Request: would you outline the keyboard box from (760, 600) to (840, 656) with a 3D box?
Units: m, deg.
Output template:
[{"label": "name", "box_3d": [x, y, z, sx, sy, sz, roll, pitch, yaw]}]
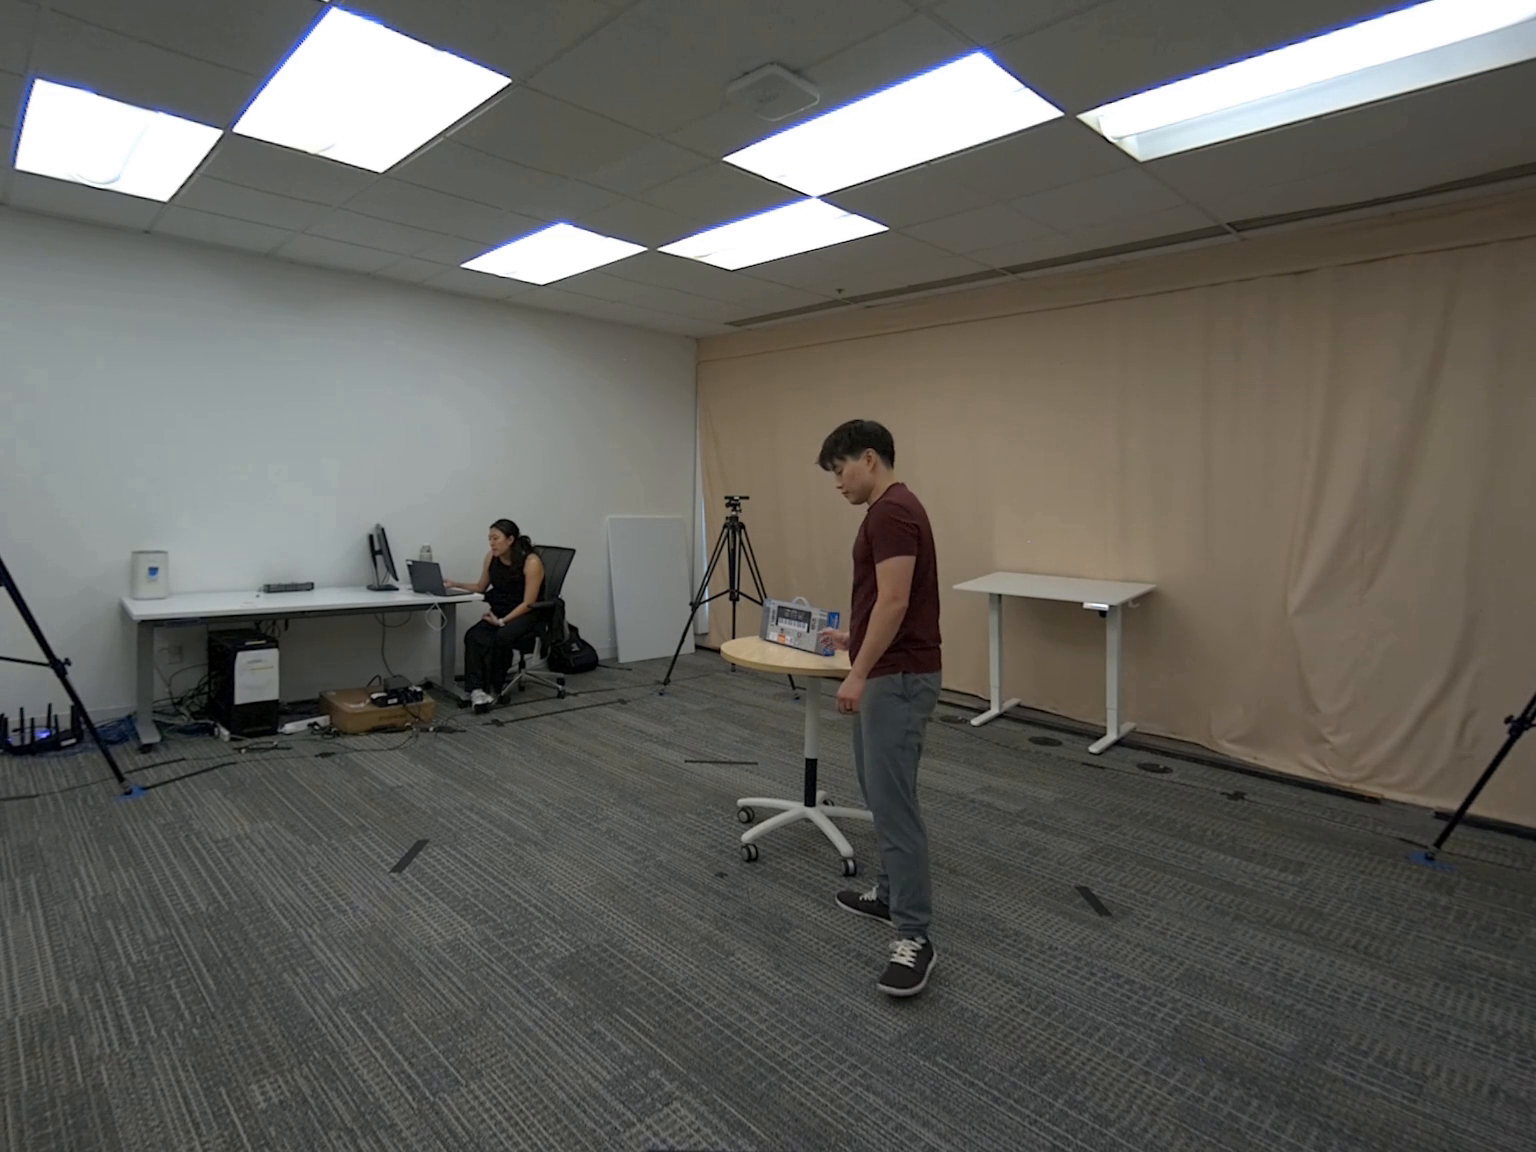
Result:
[{"label": "keyboard box", "box_3d": [0.116, 0.208, 3.473, 0.057, 0.176, 0.448, 8, 1, -35]}]
